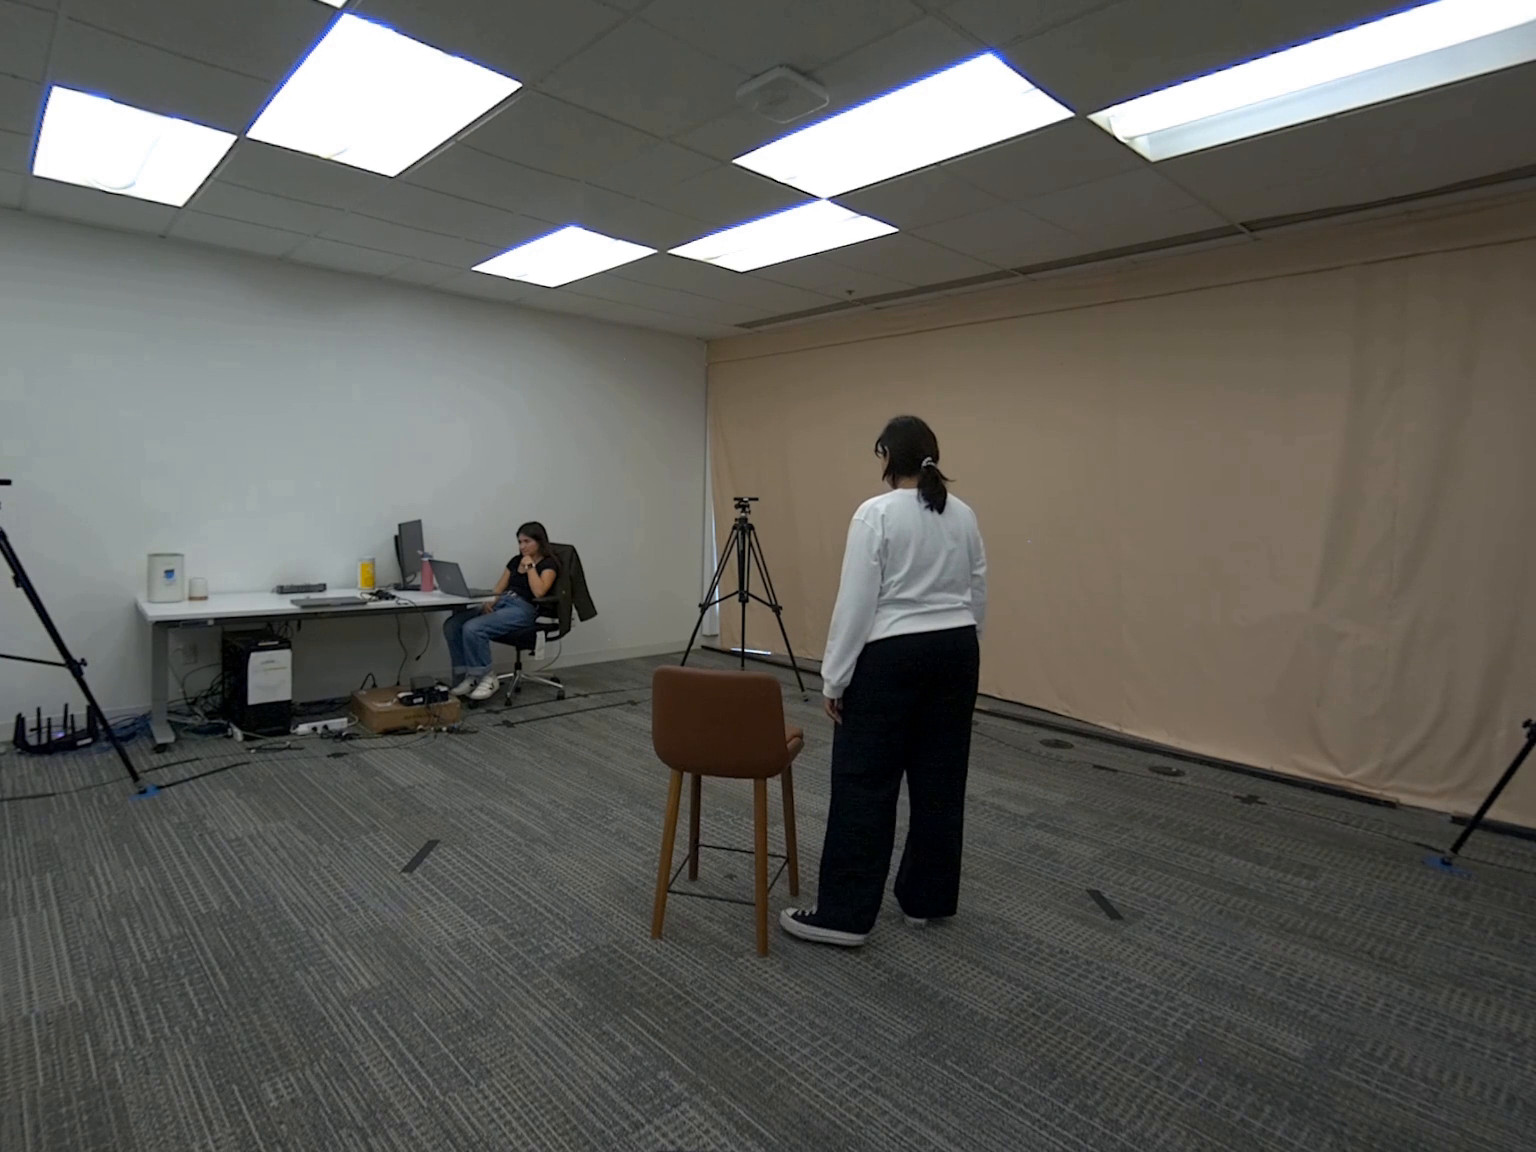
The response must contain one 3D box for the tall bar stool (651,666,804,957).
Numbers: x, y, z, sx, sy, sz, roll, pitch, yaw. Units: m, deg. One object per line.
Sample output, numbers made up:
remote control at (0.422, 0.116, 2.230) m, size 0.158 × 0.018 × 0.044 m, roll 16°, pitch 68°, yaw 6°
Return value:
tall bar stool at (-0.132, 0.706, 2.790) m, size 0.462 × 0.887 × 0.463 m, roll 2°, pitch 5°, yaw 15°
